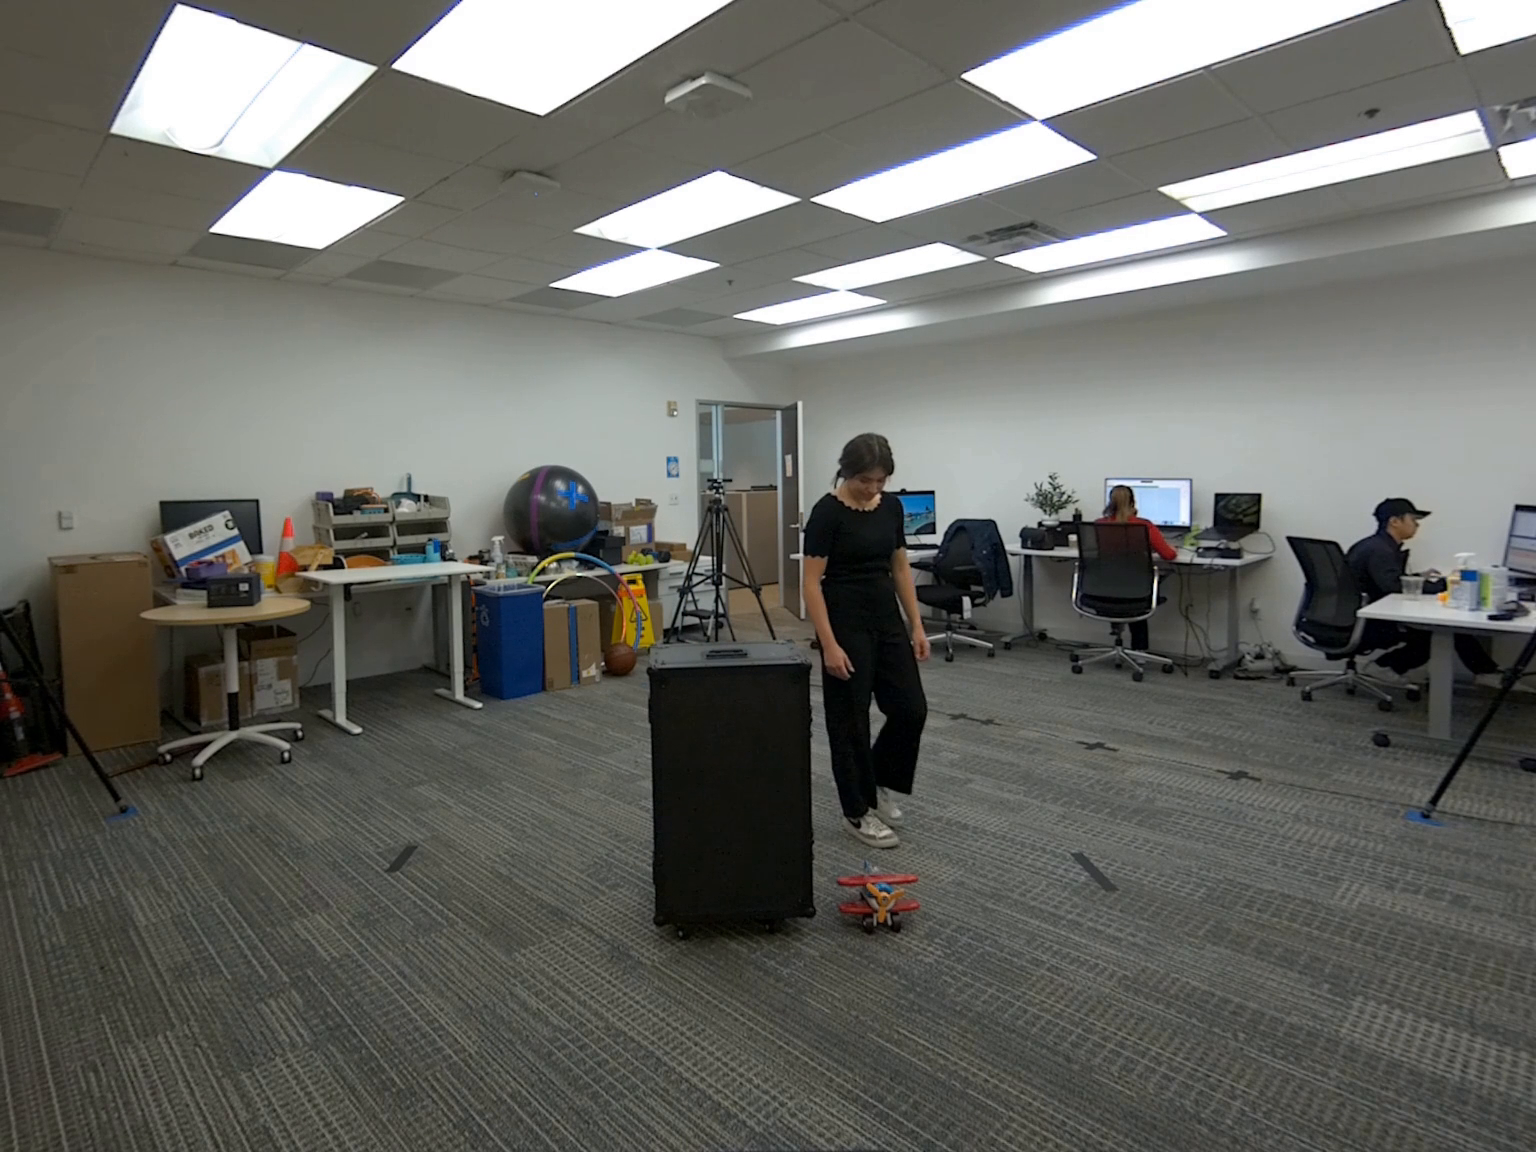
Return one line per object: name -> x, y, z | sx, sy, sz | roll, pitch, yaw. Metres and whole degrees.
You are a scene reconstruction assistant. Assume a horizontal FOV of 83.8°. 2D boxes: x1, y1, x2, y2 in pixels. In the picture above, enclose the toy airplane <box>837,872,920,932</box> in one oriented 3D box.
toy airplane -> 0.318, 1.008, 2.700 | 0.245, 0.155, 0.267 | -4, 7, -32
